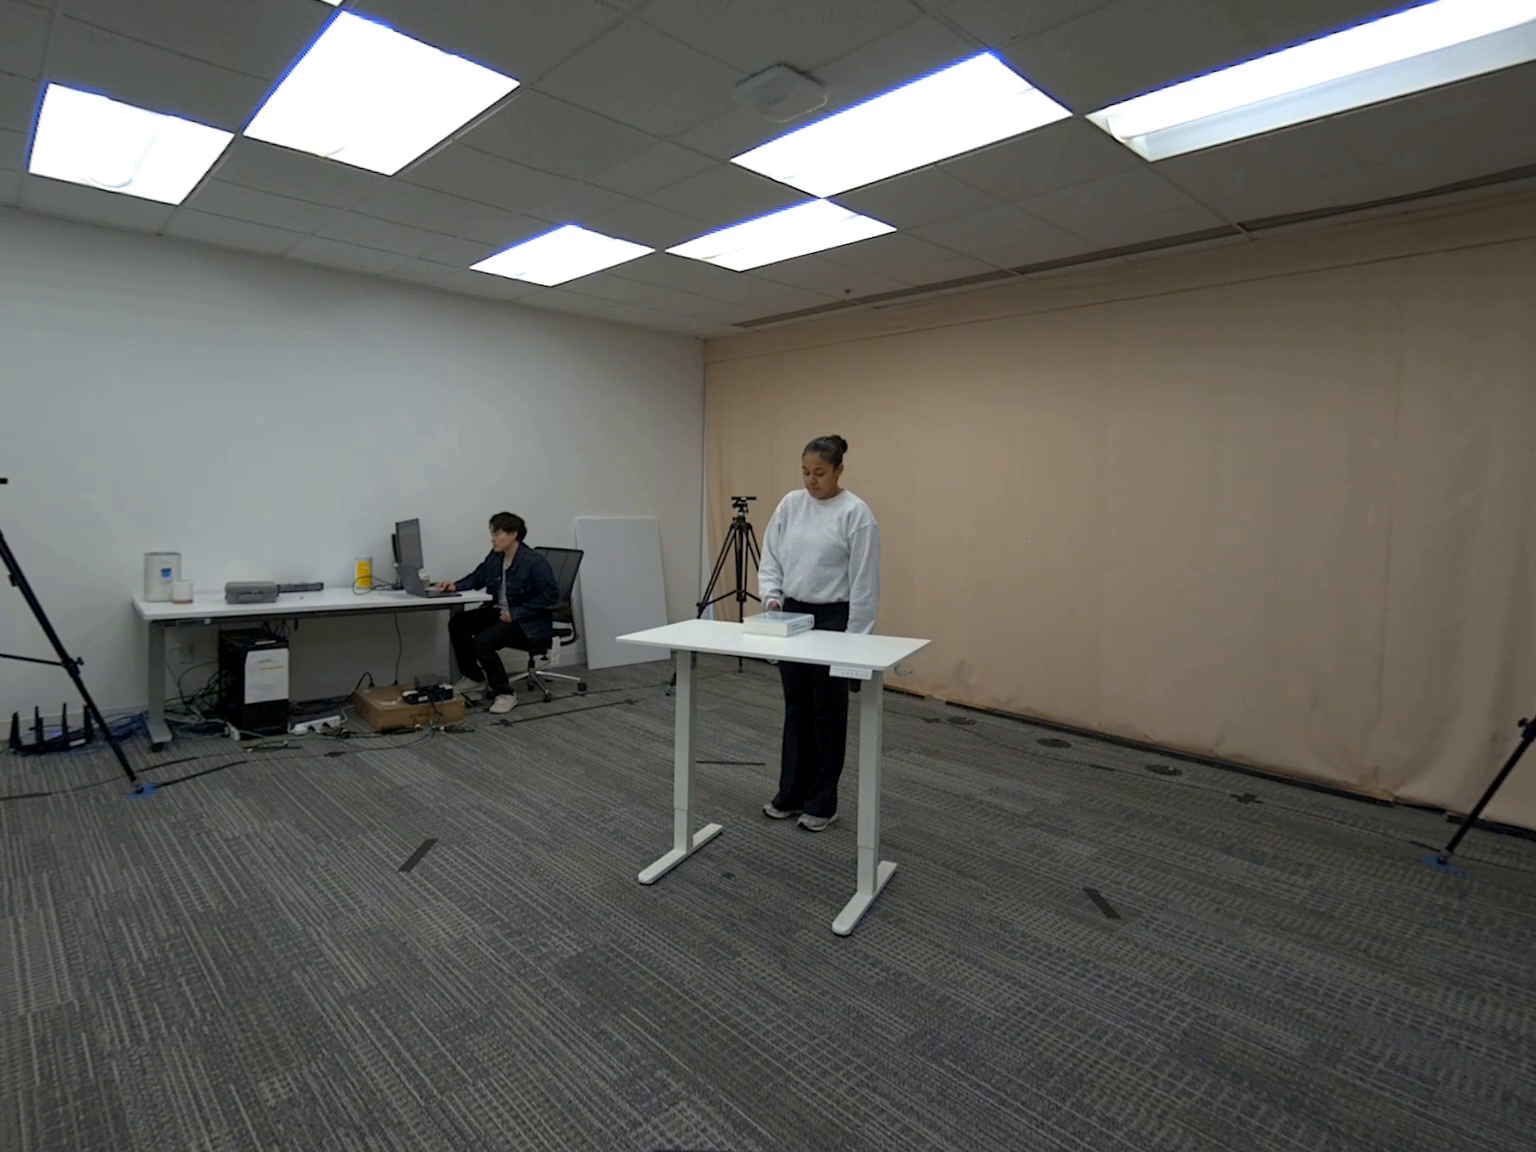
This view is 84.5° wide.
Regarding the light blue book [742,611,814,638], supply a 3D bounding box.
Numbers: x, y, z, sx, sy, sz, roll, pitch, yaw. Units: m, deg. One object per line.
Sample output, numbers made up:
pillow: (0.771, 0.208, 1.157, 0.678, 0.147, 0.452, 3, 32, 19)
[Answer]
light blue book: (0.038, 0.190, 3.272, 0.195, 0.059, 0.256, 3, 5, 28)
